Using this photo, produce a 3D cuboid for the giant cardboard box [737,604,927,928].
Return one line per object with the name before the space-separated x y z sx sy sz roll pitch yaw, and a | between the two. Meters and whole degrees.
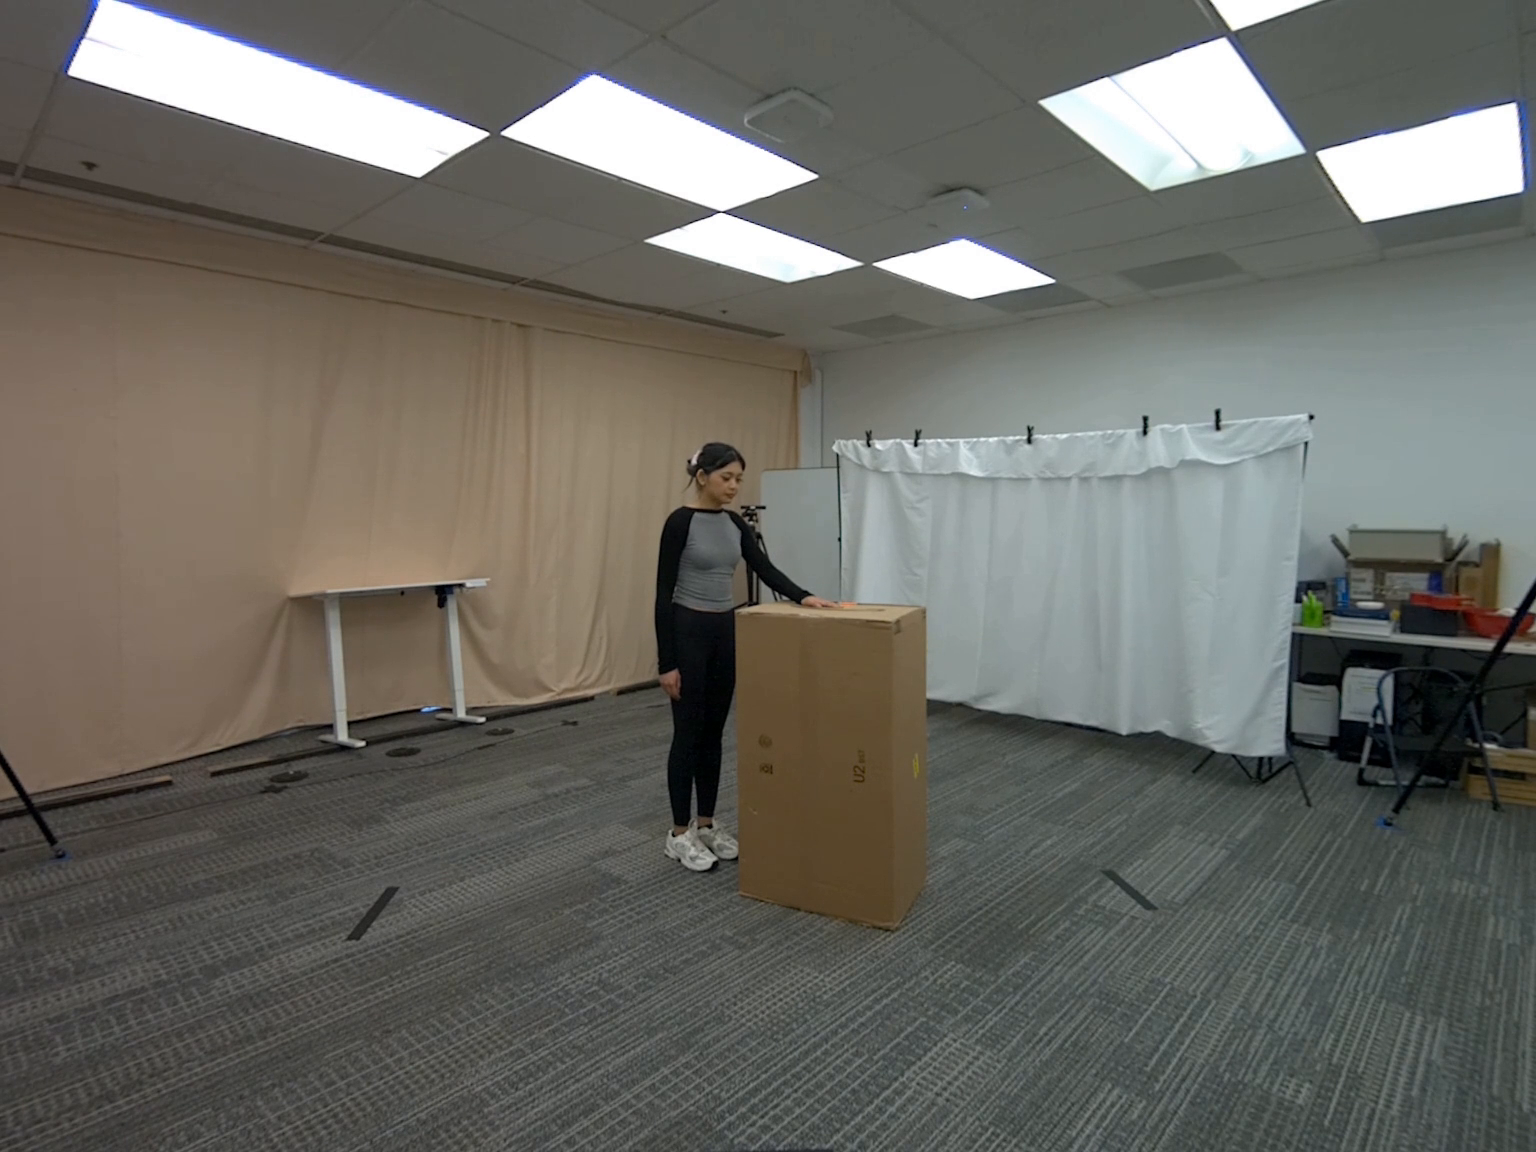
giant cardboard box | 0.243 0.632 3.040 0.599 1.024 0.436 1 4 26
